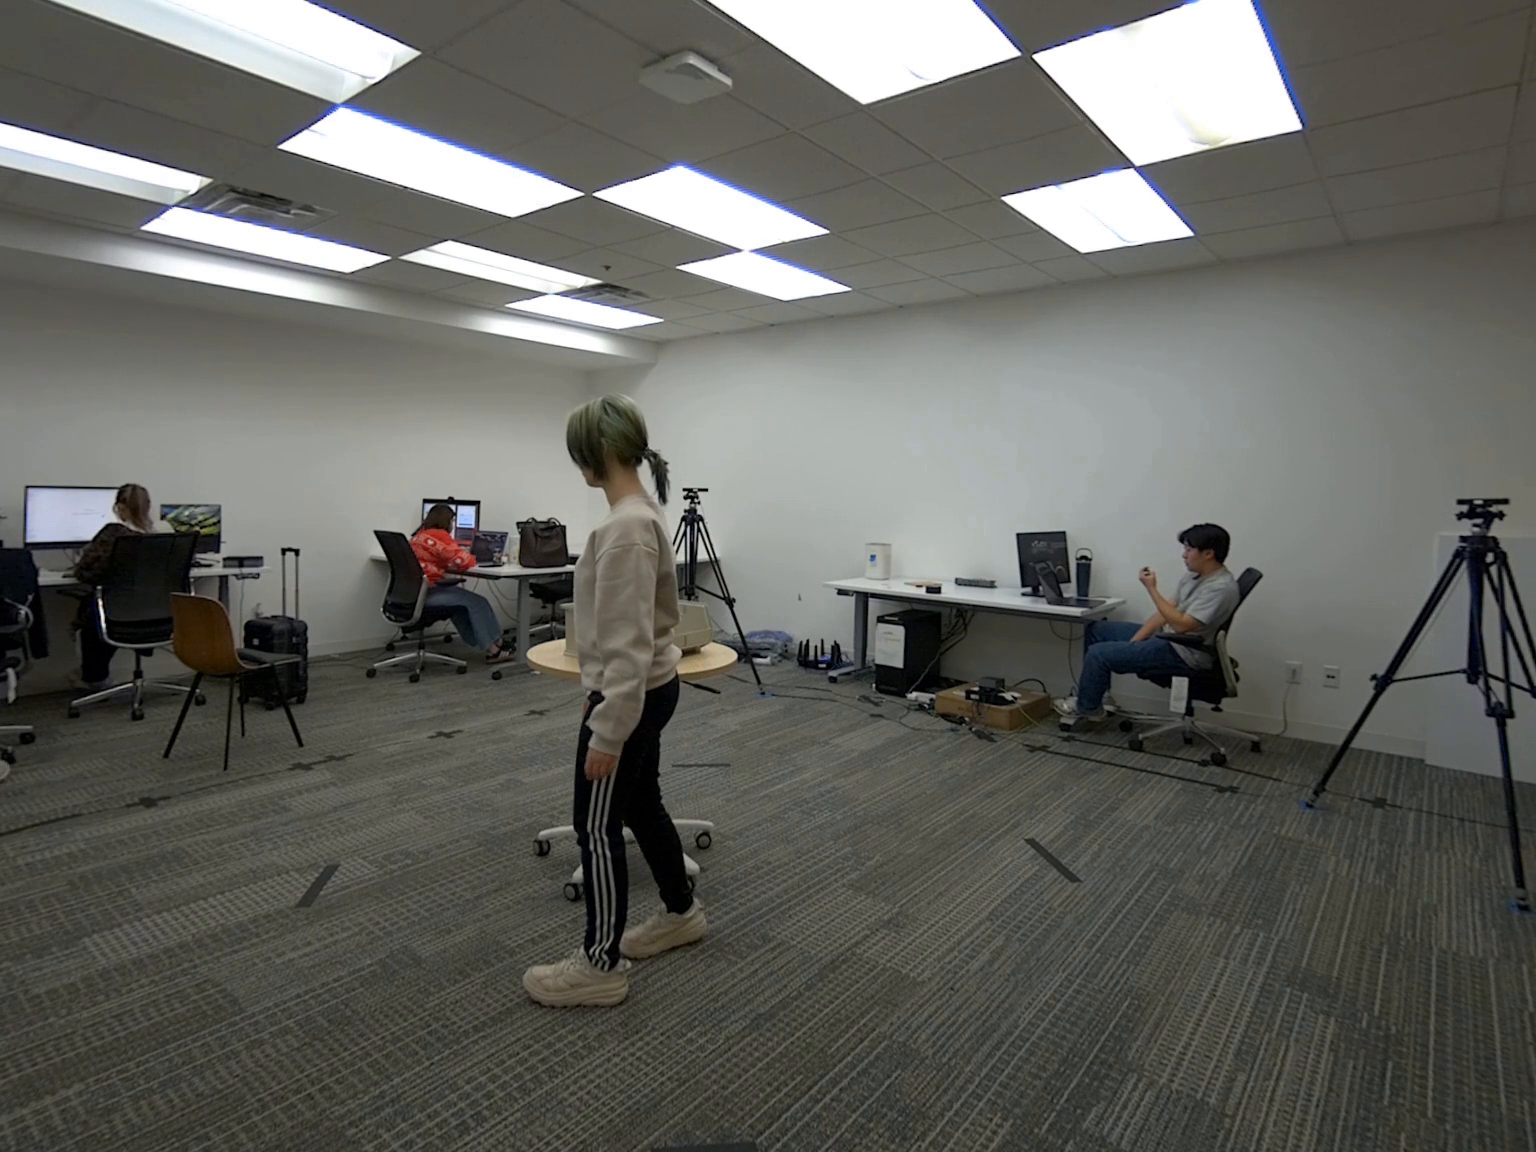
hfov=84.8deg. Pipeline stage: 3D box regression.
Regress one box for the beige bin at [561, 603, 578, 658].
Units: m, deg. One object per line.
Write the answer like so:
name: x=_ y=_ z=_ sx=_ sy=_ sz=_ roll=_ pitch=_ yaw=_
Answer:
beige bin: x=-0.479 y=0.191 z=3.099 sx=0.389 sy=0.188 sz=0.411 roll=4 pitch=6 yaw=35
